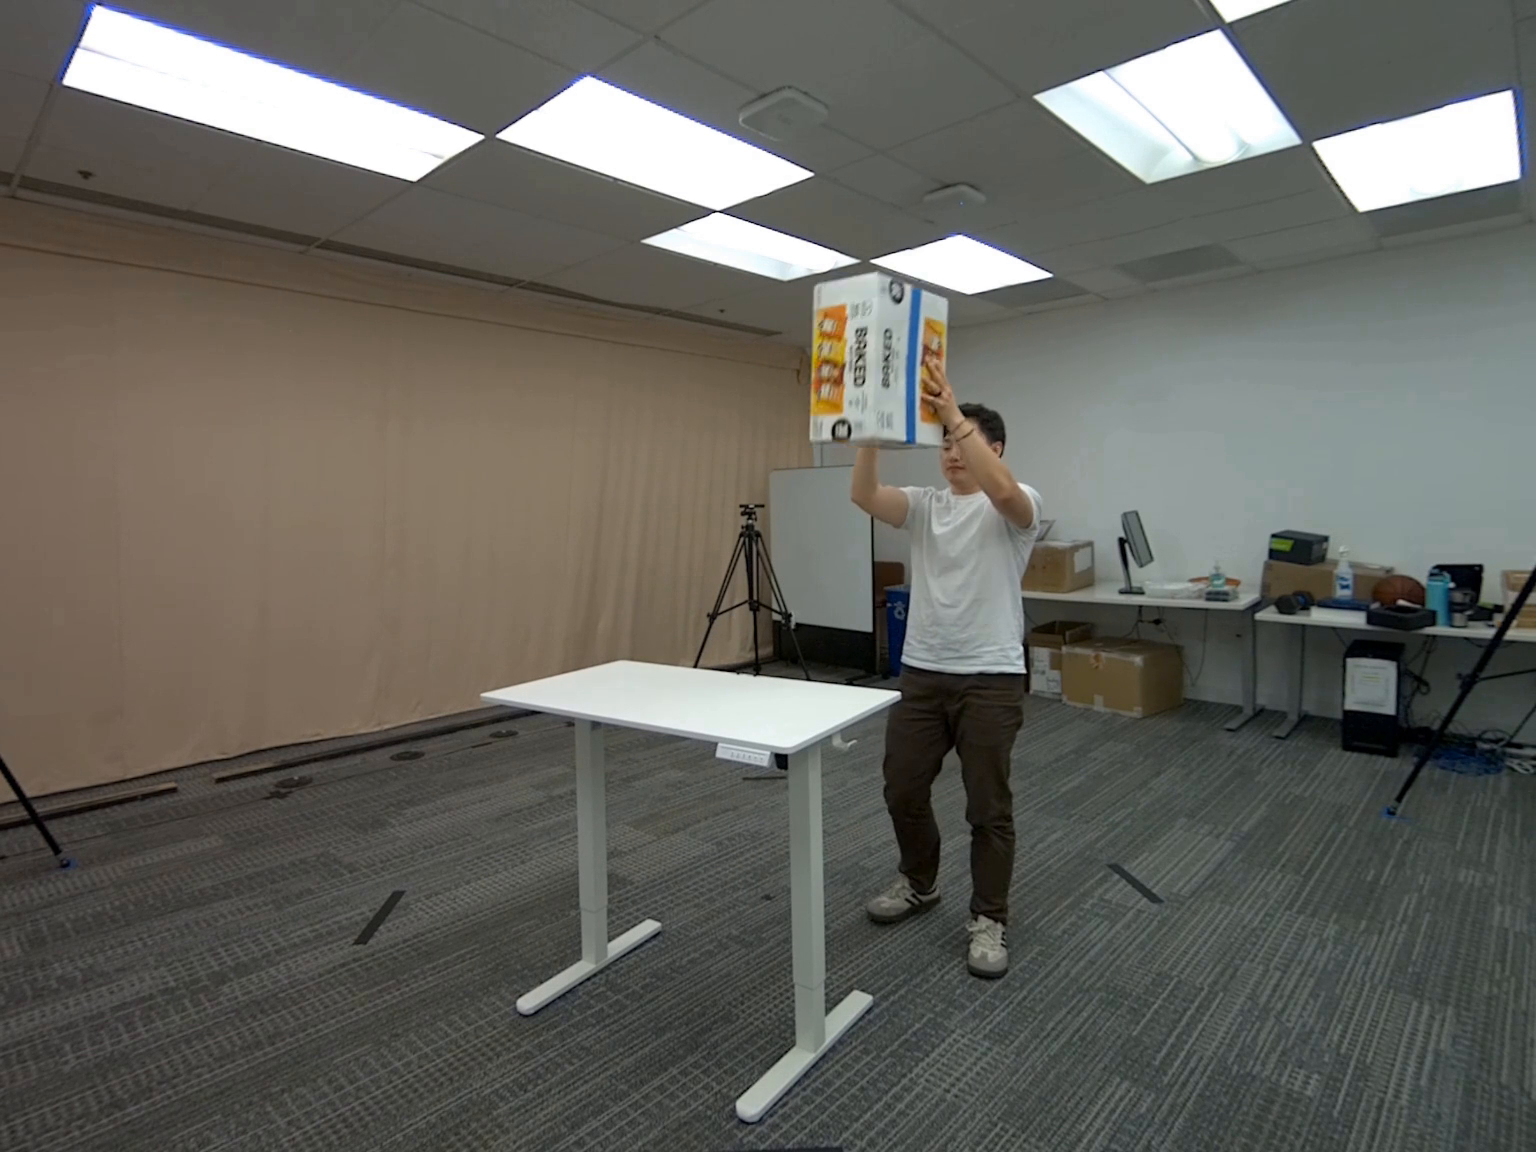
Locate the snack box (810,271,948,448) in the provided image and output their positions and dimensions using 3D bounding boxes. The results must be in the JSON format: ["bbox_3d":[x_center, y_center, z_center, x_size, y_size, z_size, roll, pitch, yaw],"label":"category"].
[{"bbox_3d":[0.310,-0.534,2.257,0.212,0.404,0.330,4,4,43],"label":"snack box"}]
